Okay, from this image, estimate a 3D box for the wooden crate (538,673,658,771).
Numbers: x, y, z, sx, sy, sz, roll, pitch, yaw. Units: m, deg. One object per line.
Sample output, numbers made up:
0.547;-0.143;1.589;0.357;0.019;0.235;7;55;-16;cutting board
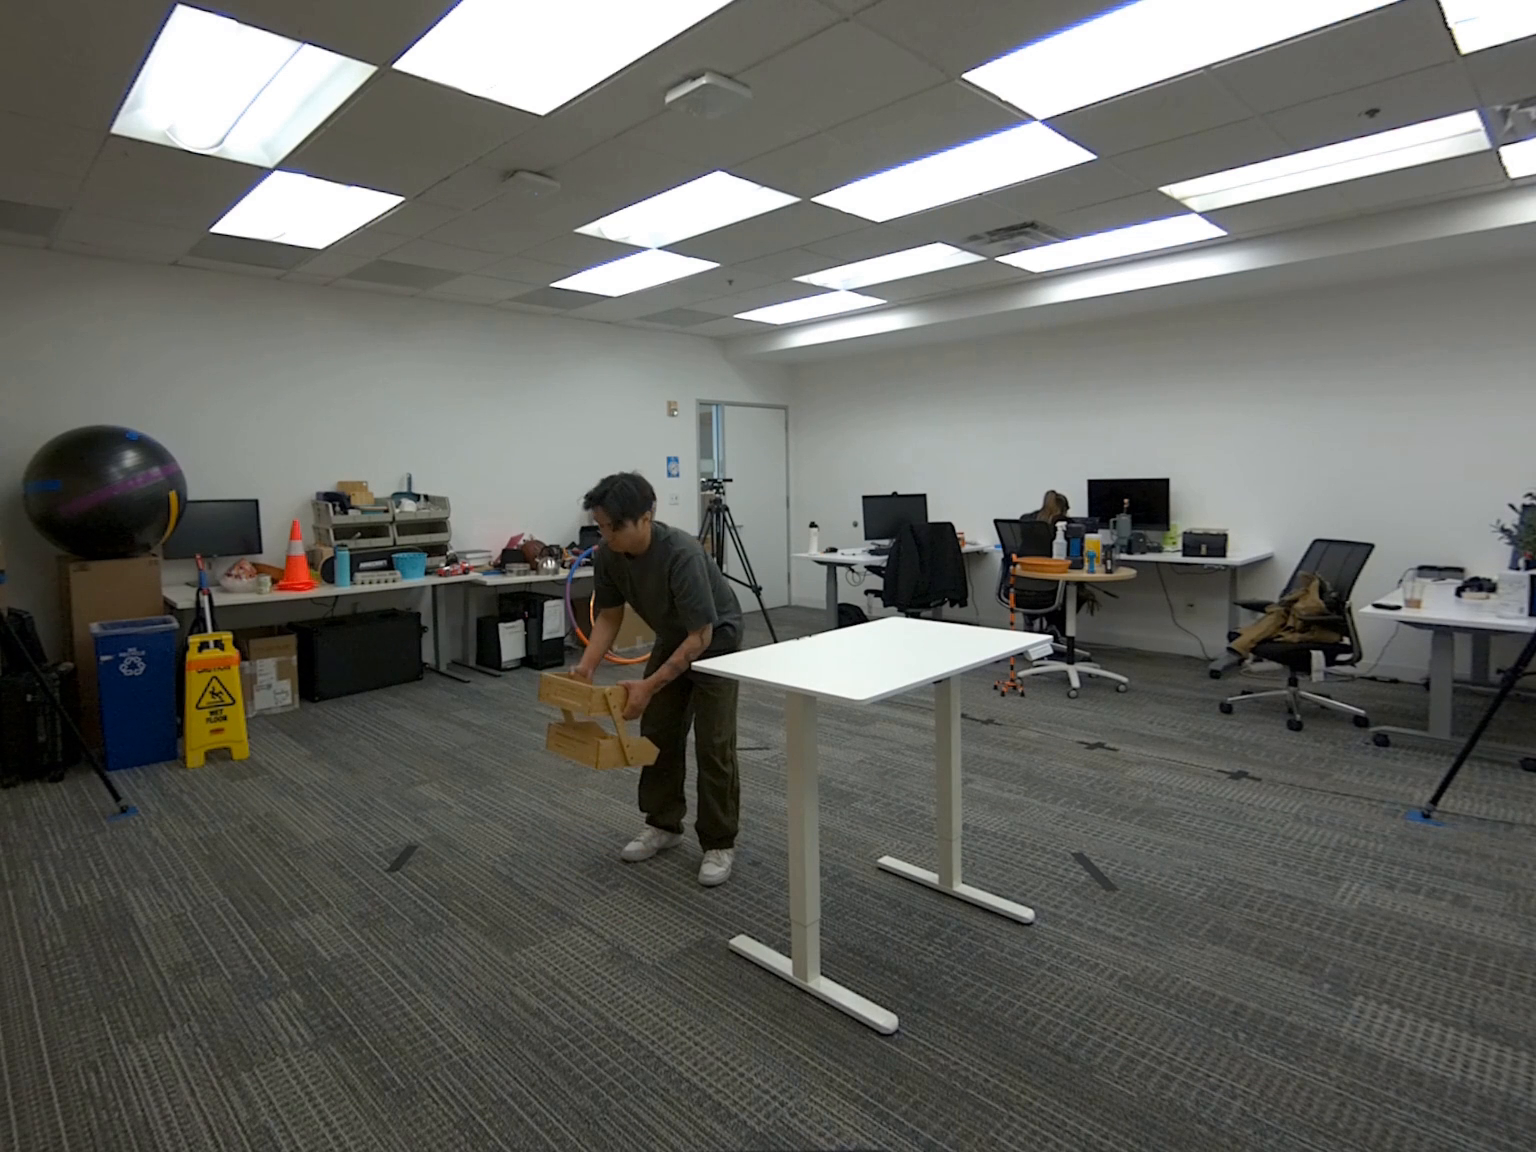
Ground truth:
-0.558;0.472;2.853;0.334;0.274;0.292;3;-3;44;wooden crate
